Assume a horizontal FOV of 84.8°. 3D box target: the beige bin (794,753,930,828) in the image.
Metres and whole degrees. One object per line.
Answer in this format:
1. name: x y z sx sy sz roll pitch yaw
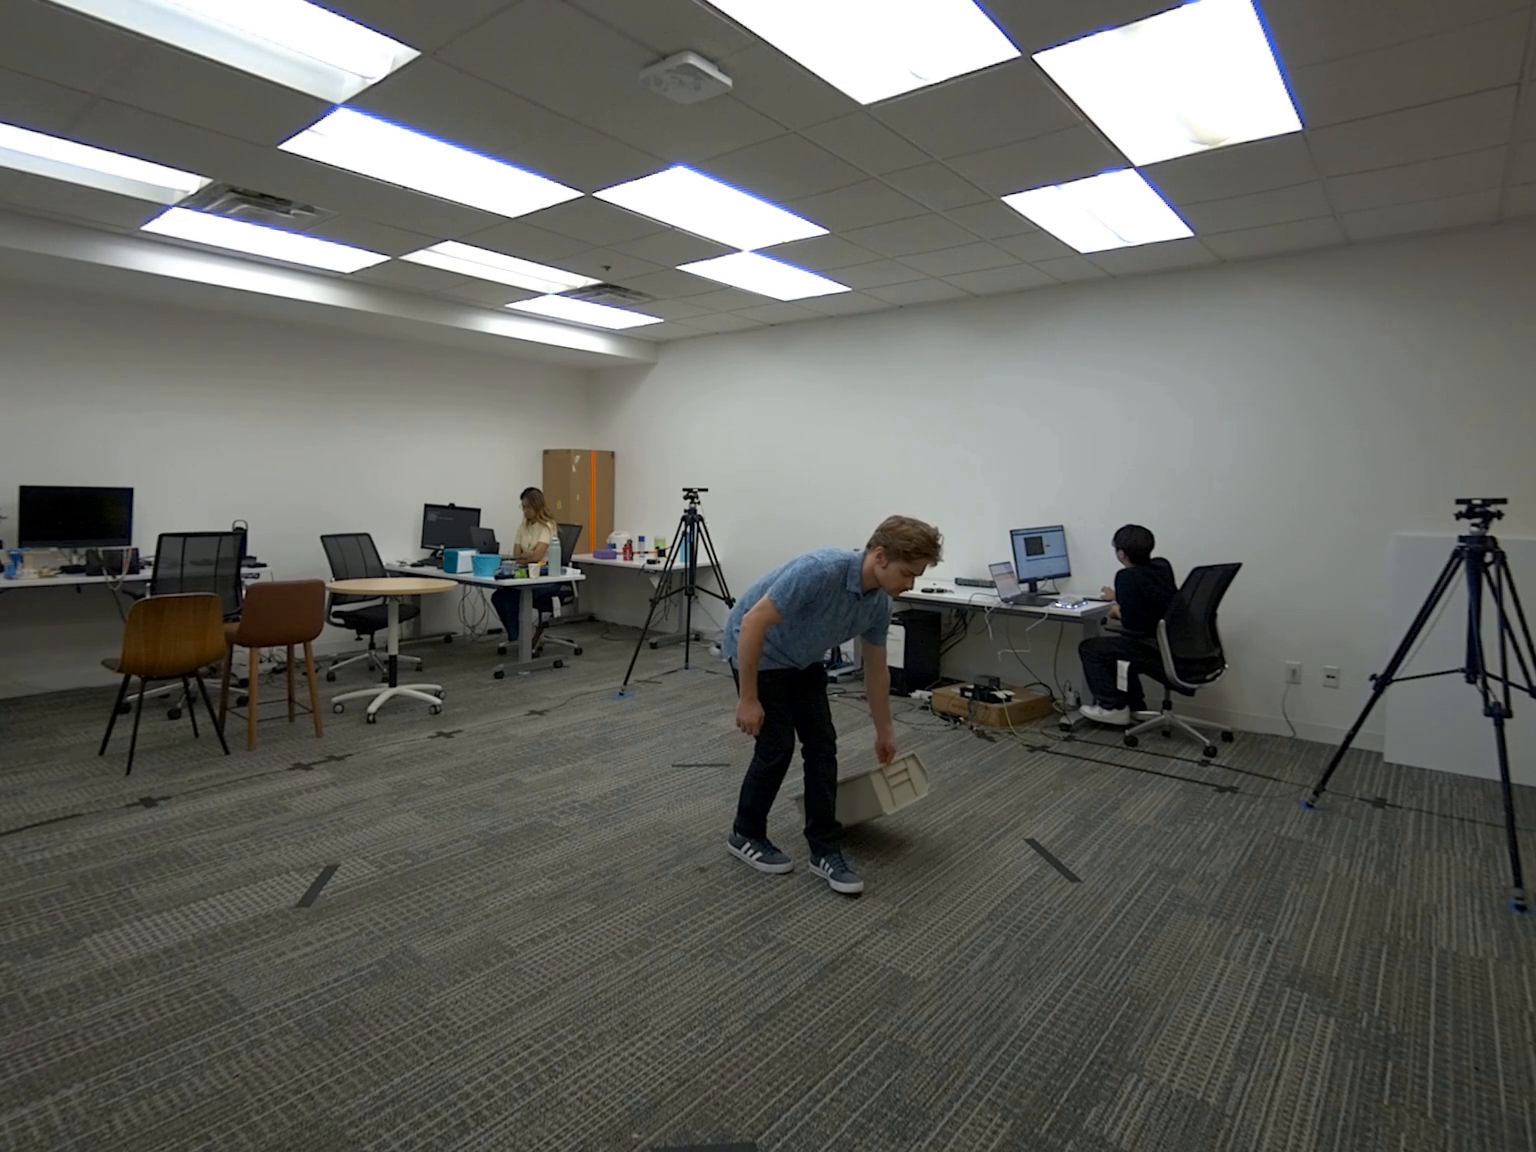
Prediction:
1. beige bin: 0.367 0.872 3.414 0.427 0.192 0.366 -30 -15 36
